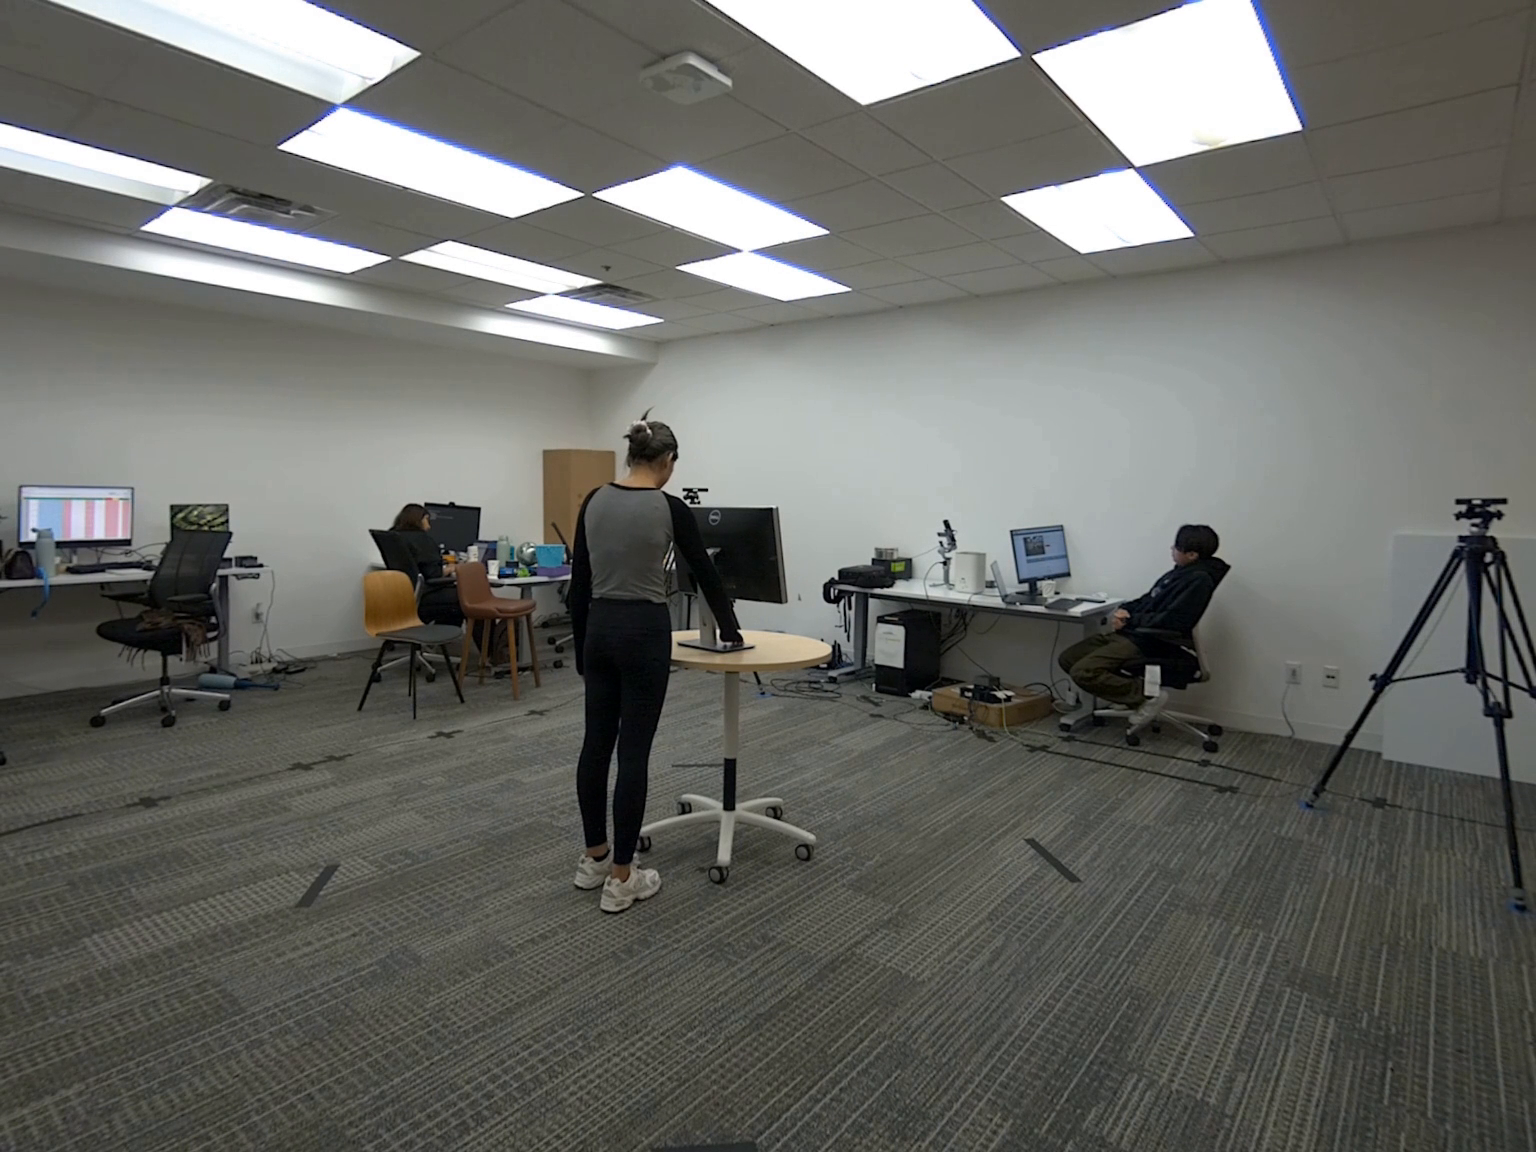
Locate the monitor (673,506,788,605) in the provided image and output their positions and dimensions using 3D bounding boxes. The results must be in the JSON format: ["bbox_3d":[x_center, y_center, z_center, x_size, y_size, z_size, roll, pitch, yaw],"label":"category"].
[{"bbox_3d":[-0.200,-0.001,3.248,0.557,0.522,0.181,4,2,40],"label":"monitor"}]
